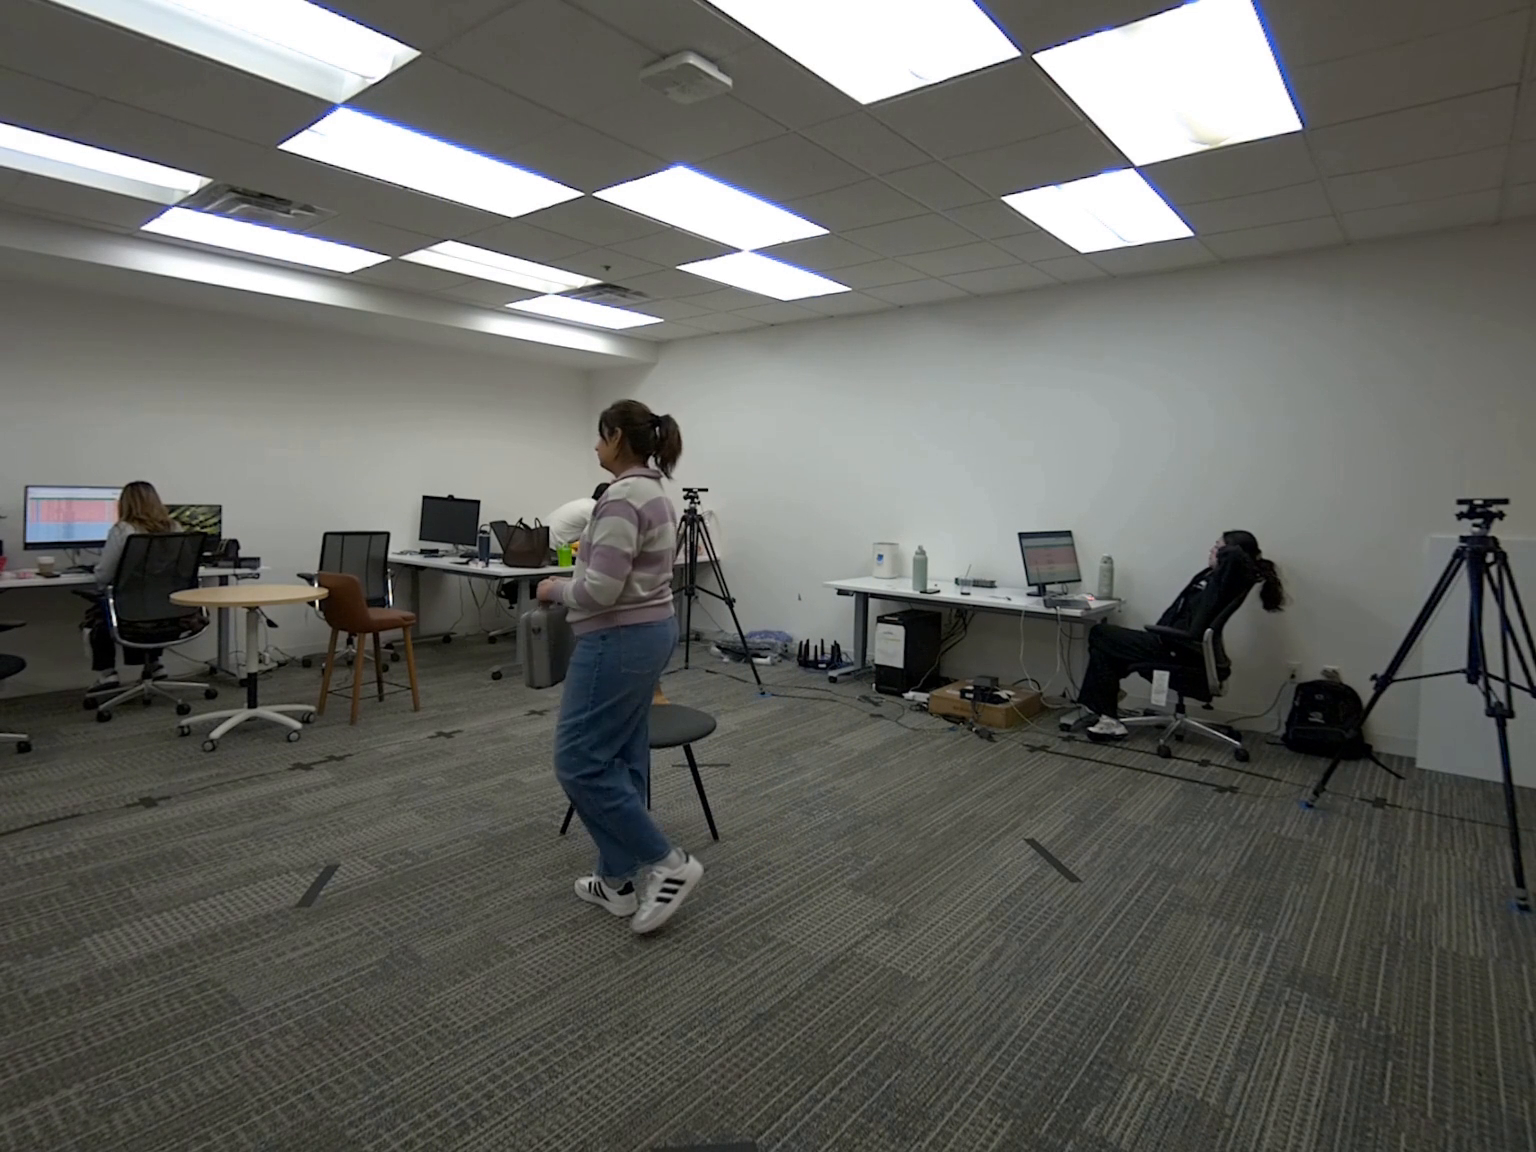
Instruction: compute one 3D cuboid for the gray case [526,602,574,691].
[{"bbox_3d":[-0.717,0.221,2.857,0.105,0.259,0.257,-3,7,4],"label":"gray case"}]
